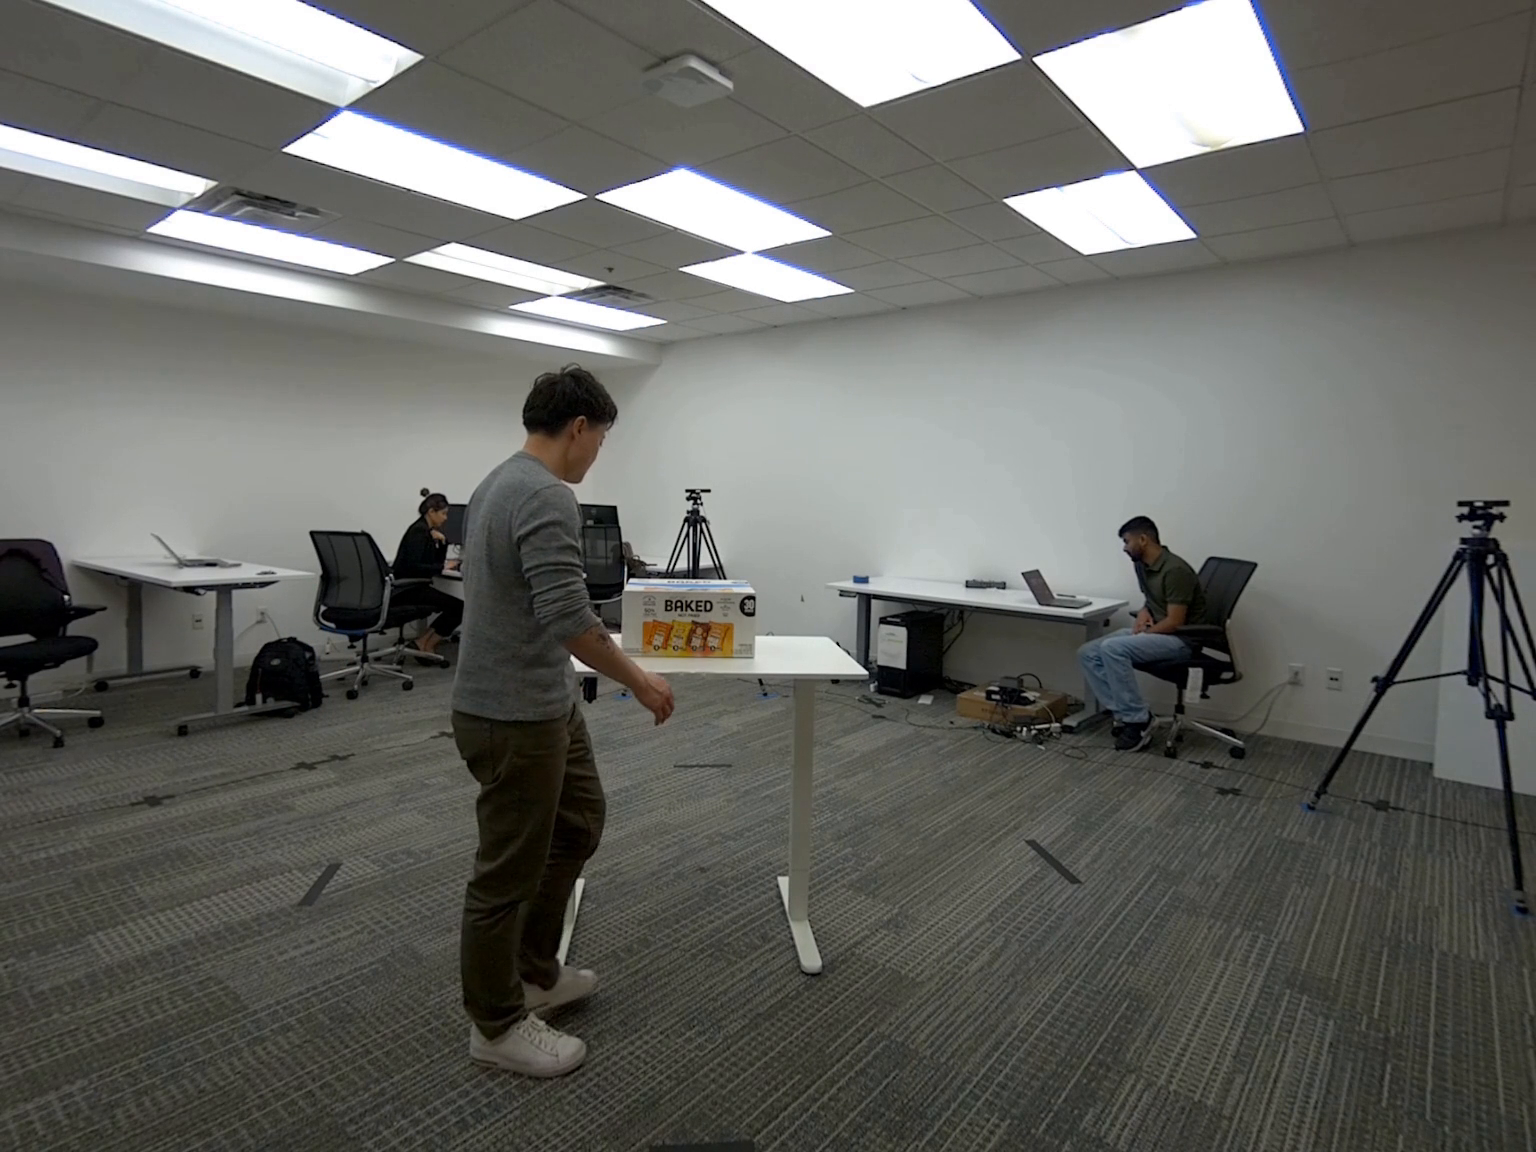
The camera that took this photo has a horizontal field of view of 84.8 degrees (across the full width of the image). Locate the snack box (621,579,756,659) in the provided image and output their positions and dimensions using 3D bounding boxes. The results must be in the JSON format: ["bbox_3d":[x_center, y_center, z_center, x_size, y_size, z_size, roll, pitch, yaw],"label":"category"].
[{"bbox_3d":[-0.266,0.129,2.725,0.404,0.205,0.343,1,6,-4],"label":"snack box"}]
